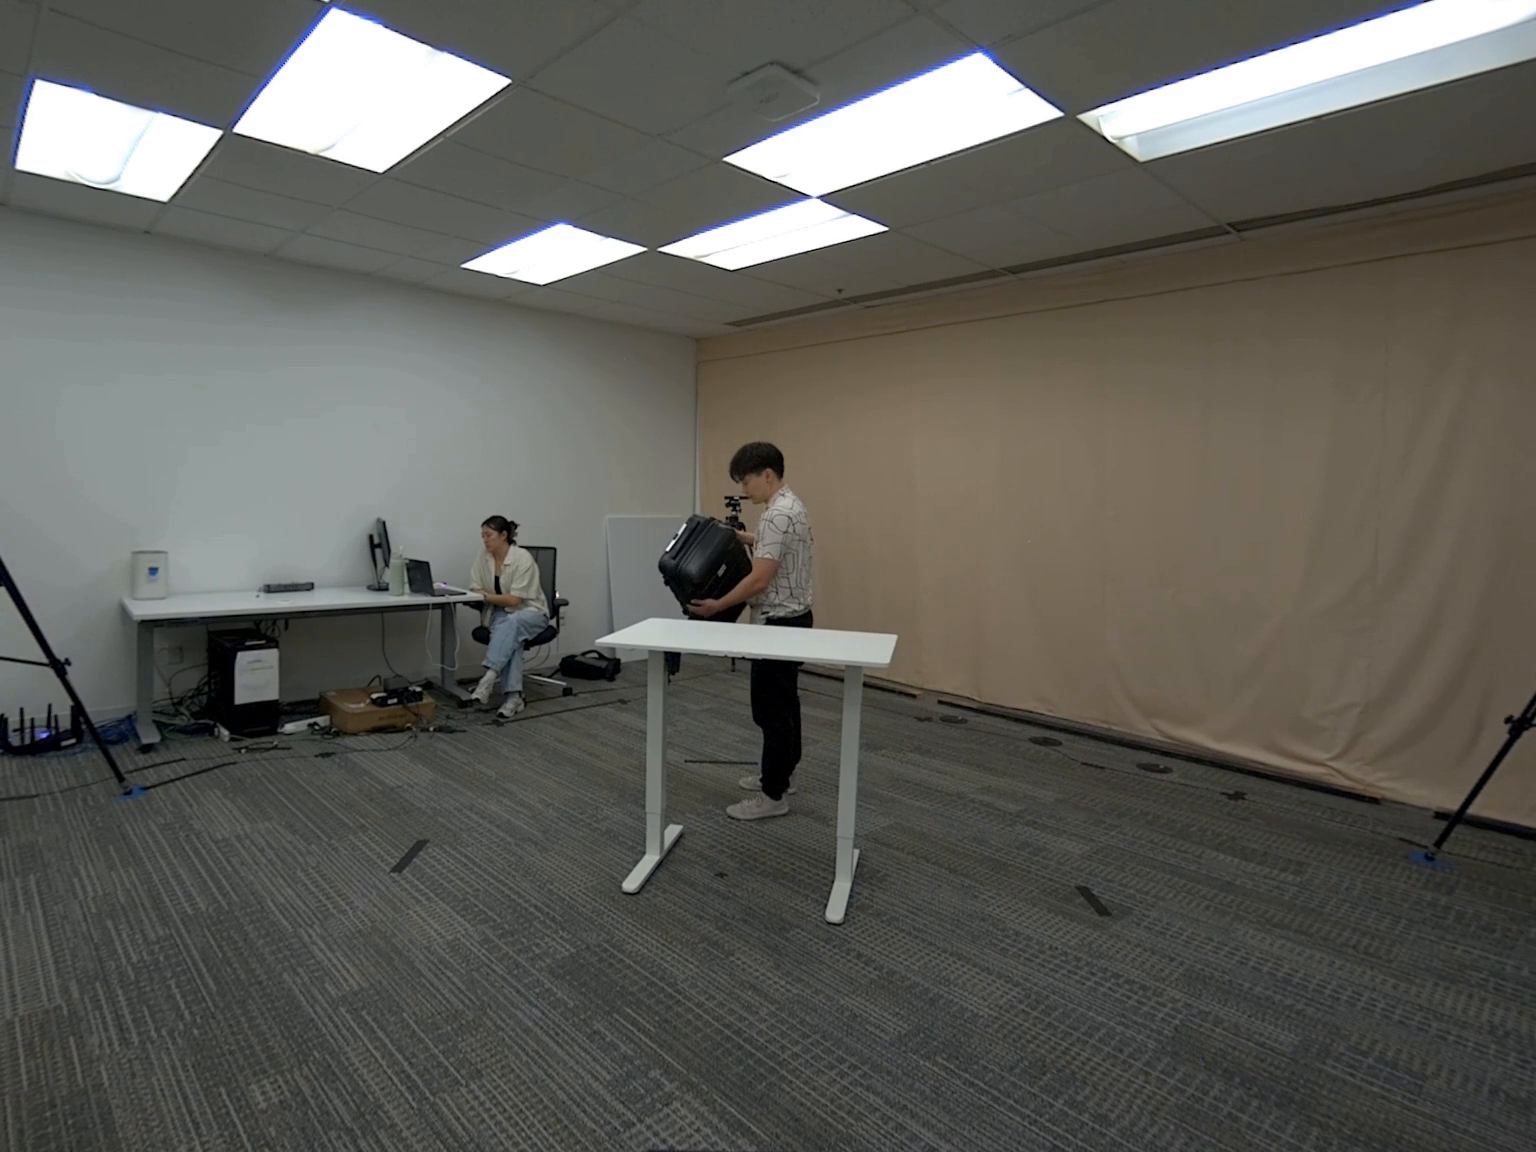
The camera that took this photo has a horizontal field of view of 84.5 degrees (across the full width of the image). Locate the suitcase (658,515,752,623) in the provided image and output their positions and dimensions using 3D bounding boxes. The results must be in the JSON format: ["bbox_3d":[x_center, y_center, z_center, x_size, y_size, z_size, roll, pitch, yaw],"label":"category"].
[{"bbox_3d":[-0.269,-0.005,3.929,0.255,0.376,0.533,22,-25,30],"label":"suitcase"}]
